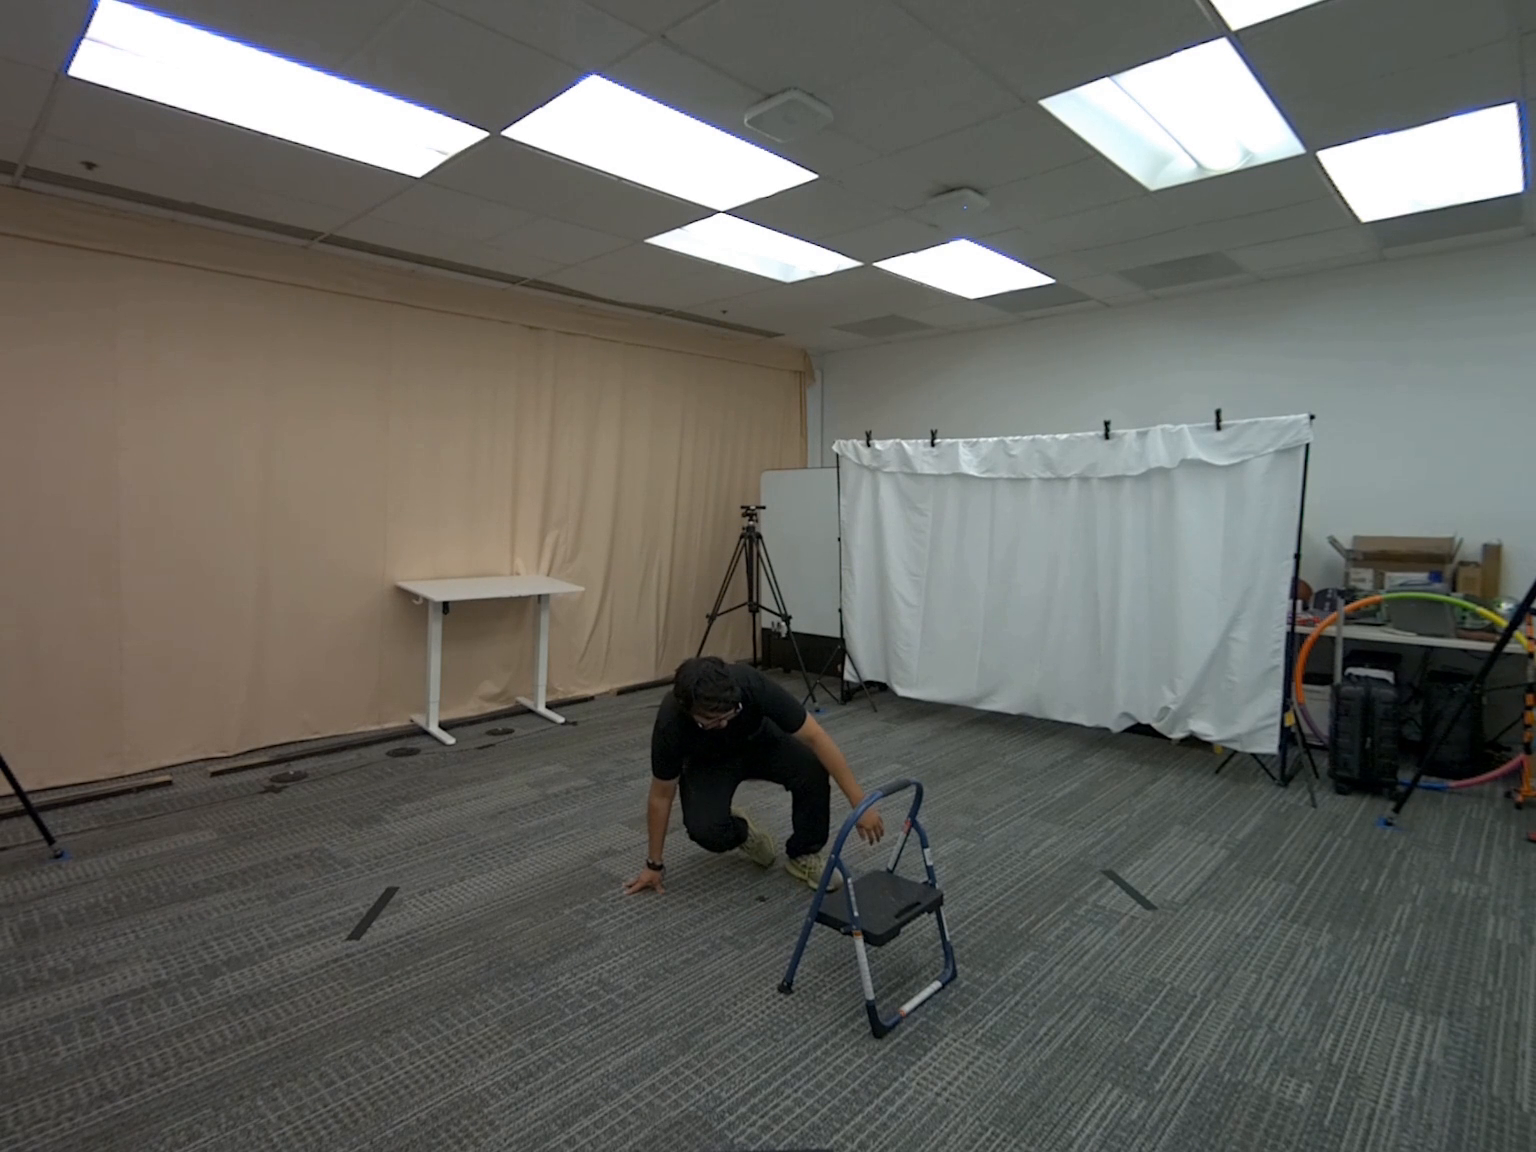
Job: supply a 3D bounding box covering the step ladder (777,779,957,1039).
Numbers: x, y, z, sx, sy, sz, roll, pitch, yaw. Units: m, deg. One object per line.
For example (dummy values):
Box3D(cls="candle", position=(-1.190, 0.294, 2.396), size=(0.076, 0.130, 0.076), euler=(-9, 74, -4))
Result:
Box3D(cls="step ladder", position=(0.299, 0.887, 2.435), size=(0.361, 0.604, 0.417), euler=(3, 5, 42))
